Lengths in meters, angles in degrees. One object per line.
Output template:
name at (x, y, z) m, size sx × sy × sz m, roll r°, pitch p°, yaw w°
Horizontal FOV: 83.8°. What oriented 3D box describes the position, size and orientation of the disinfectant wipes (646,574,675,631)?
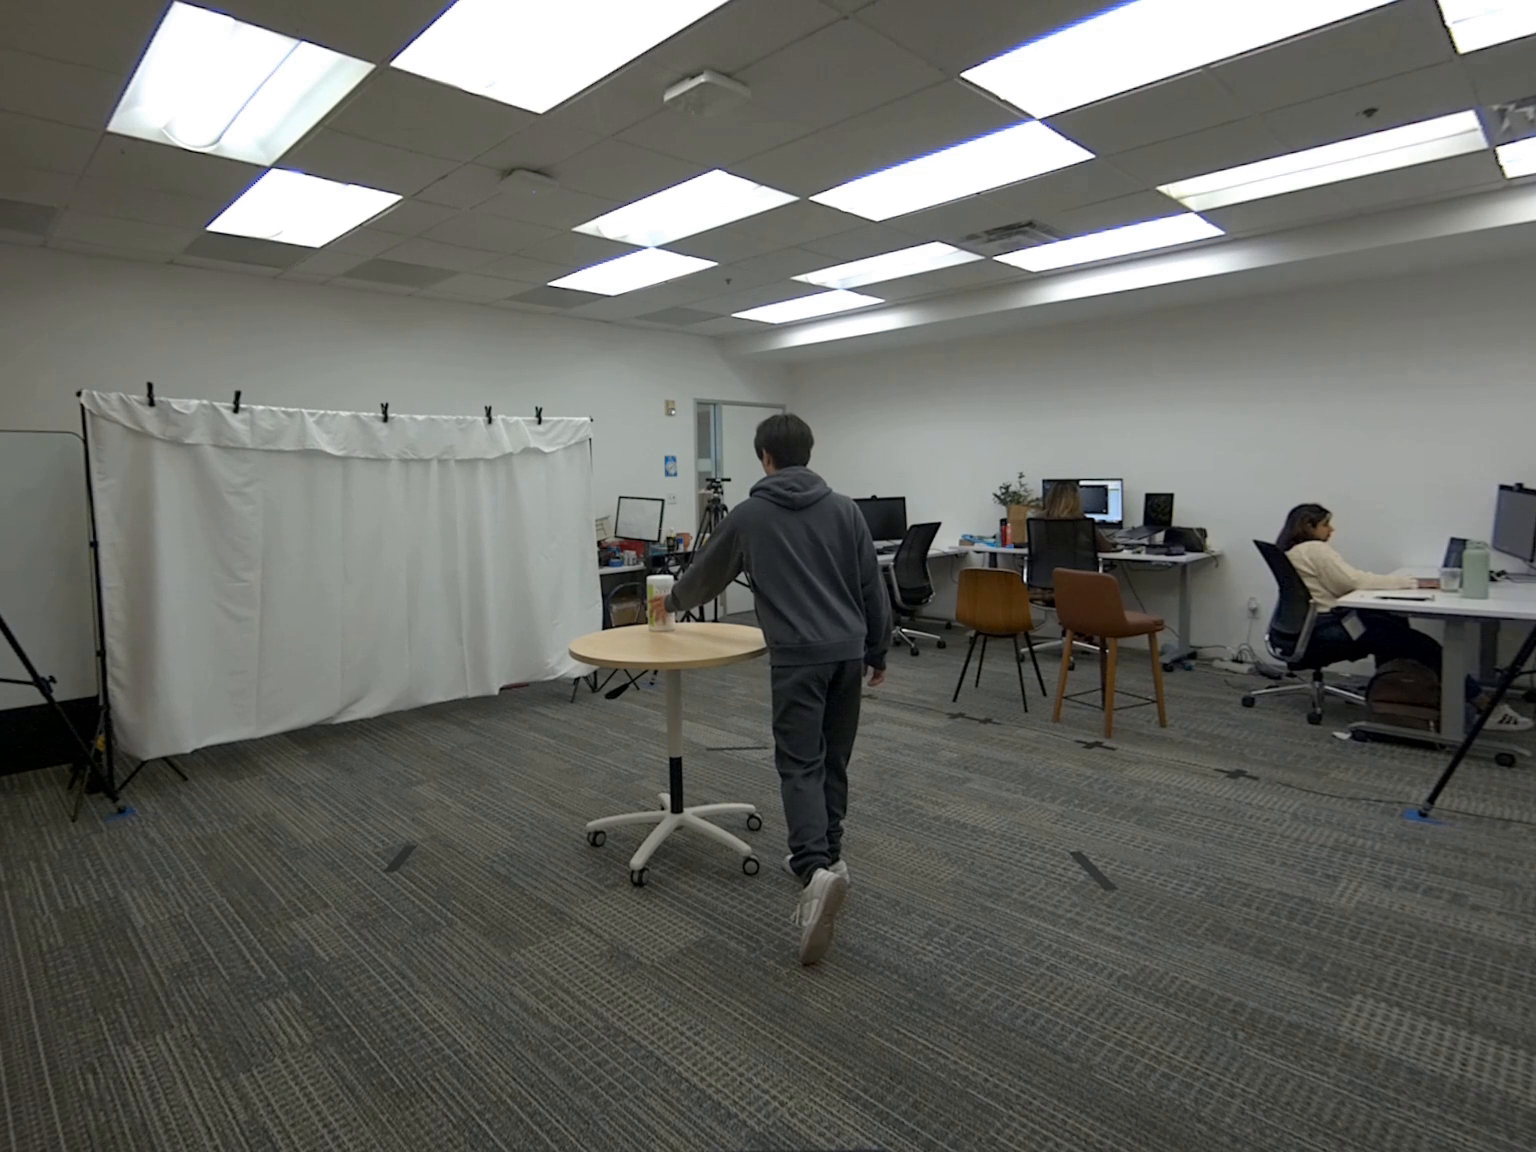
disinfectant wipes at (-0.424, 0.108, 3.425) m, size 0.118 × 0.217 × 0.118 m, roll -2°, pitch 4°, yaw -1°
